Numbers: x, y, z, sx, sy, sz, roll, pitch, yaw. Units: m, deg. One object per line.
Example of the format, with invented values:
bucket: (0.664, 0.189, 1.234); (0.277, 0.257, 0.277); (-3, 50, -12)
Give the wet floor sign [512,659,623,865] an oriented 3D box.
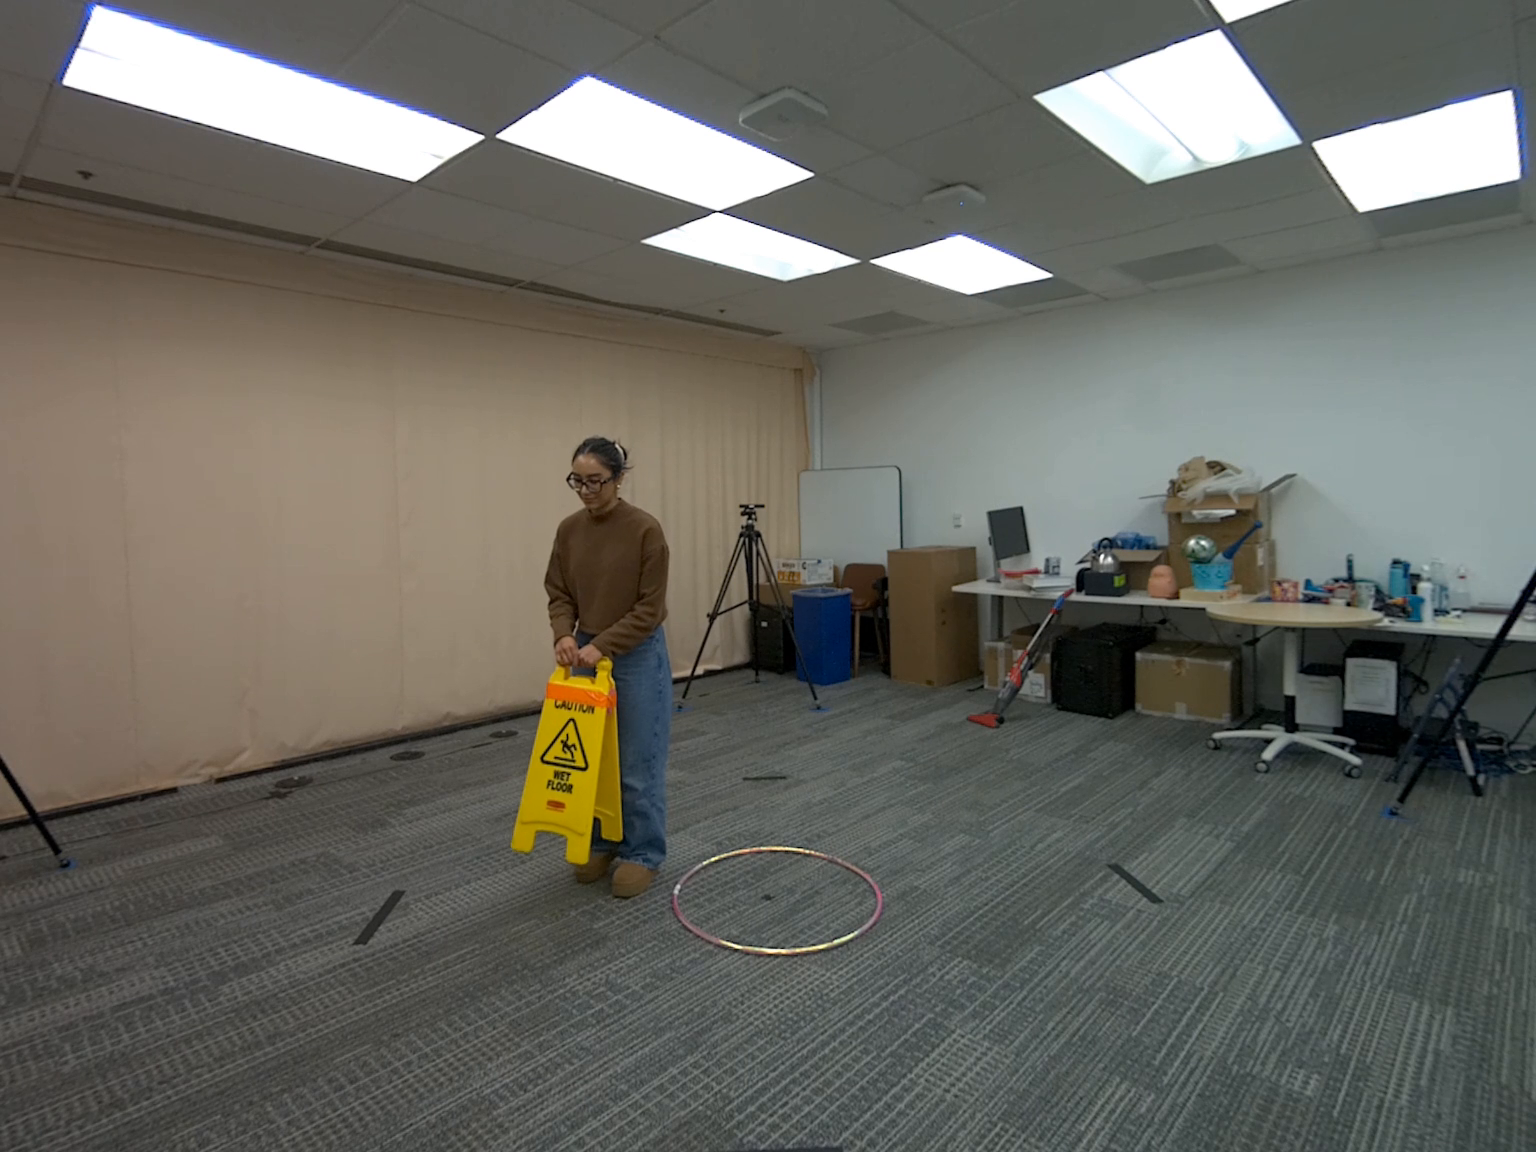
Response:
wet floor sign: (-0.646, 0.583, 2.837); (0.288, 0.646, 0.284); (4, 0, 18)
